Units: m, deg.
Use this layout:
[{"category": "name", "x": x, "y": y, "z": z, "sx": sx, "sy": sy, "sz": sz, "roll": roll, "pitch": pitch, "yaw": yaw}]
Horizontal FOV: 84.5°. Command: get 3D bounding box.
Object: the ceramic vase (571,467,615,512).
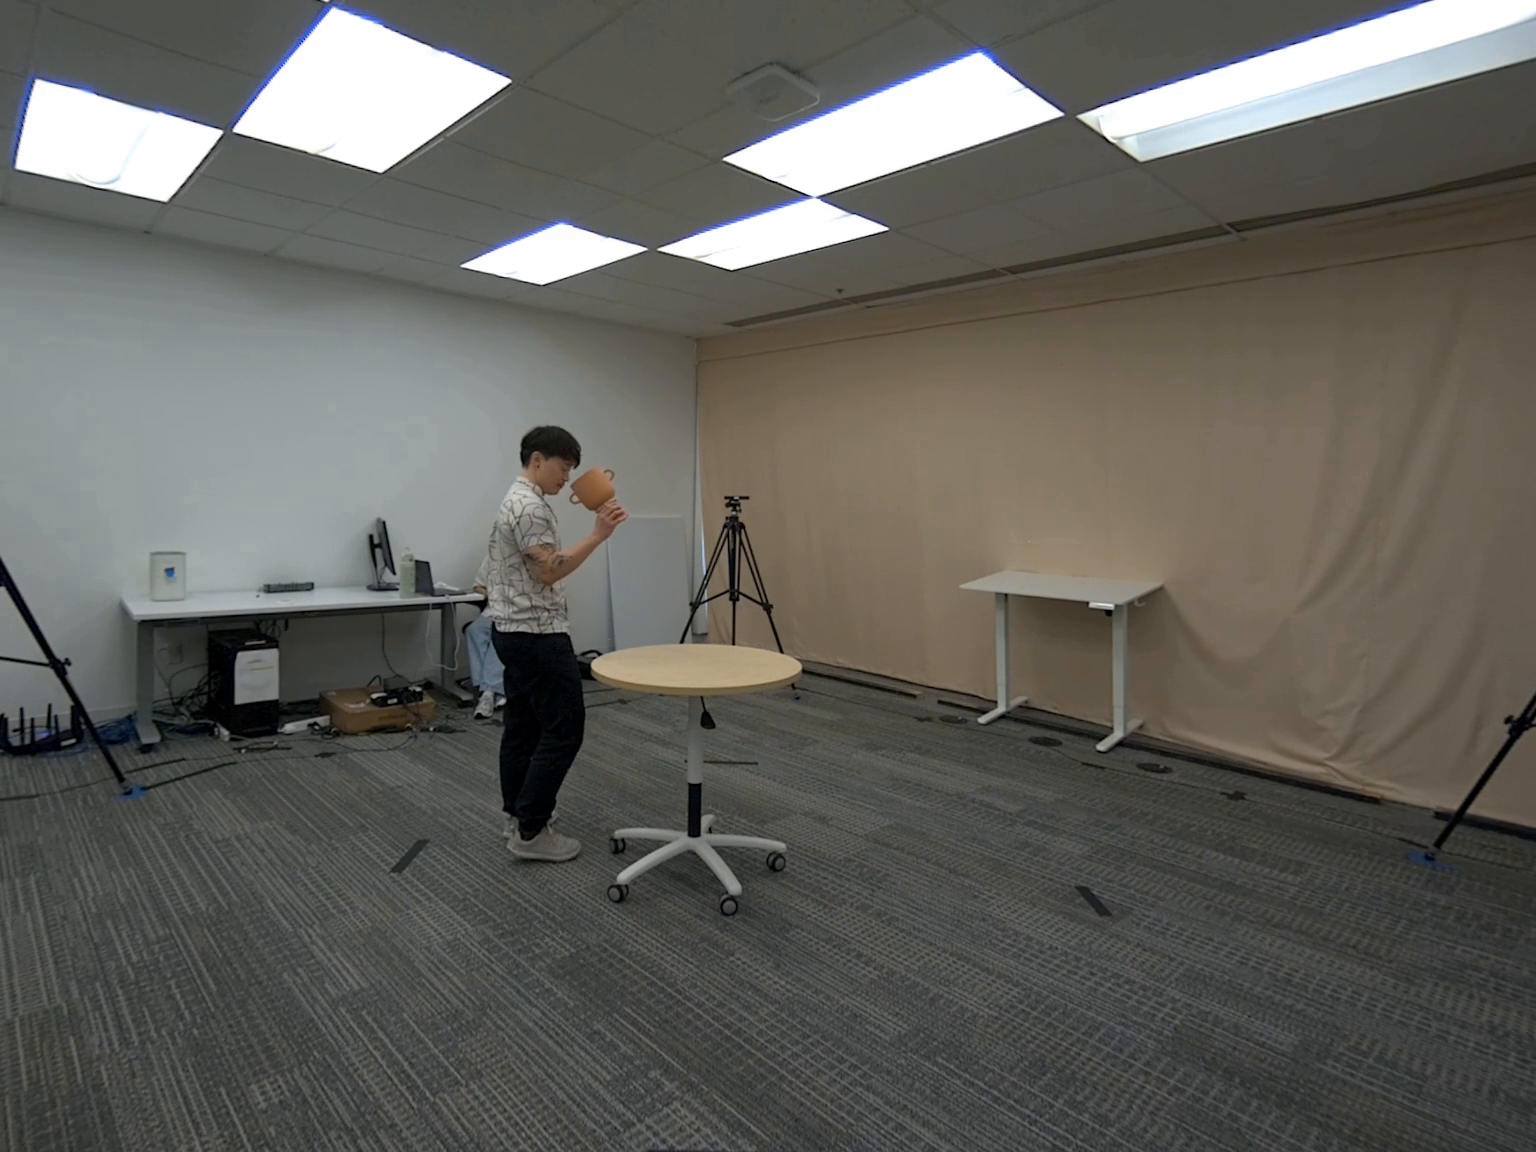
[{"category": "ceramic vase", "x": -0.641, "y": -0.292, "z": 3.175, "sx": 0.160, "sy": 0.219, "sz": 0.134, "roll": -33, "pitch": 3, "yaw": 33}]
